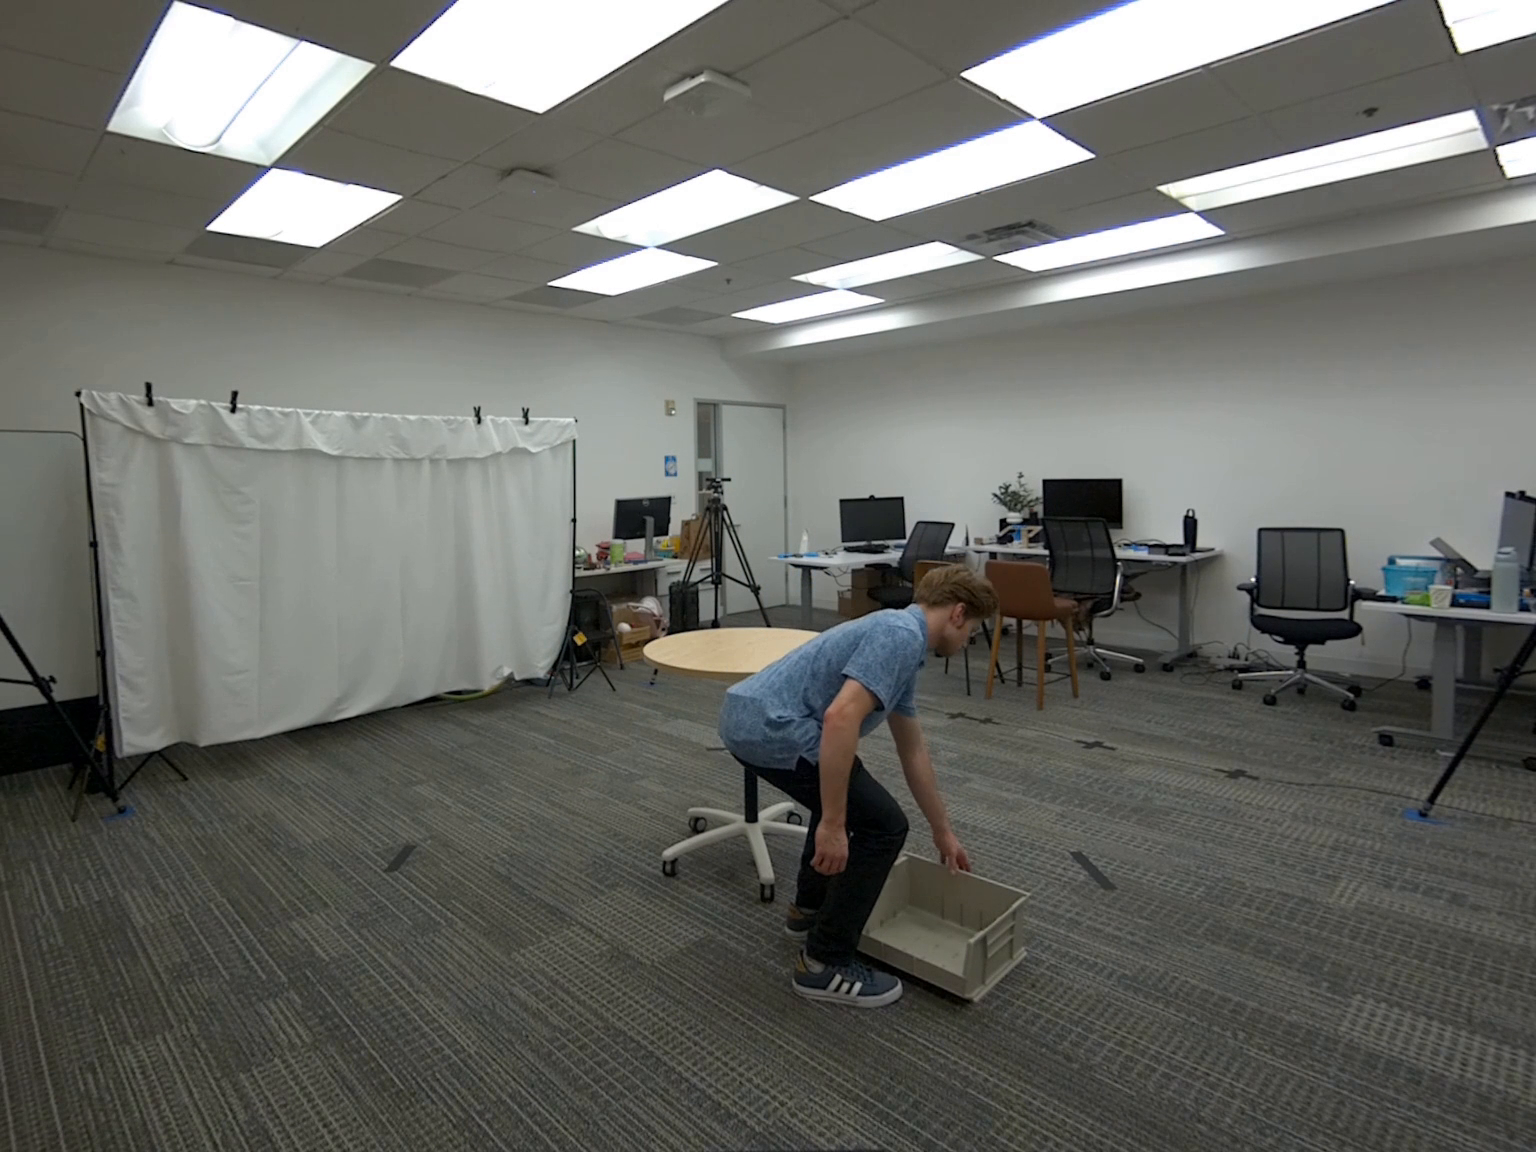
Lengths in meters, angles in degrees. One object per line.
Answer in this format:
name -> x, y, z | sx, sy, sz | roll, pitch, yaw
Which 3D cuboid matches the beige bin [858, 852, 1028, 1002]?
beige bin -> 0.490, 1.018, 2.492 | 0.435, 0.188, 0.367 | 4, 7, 42
